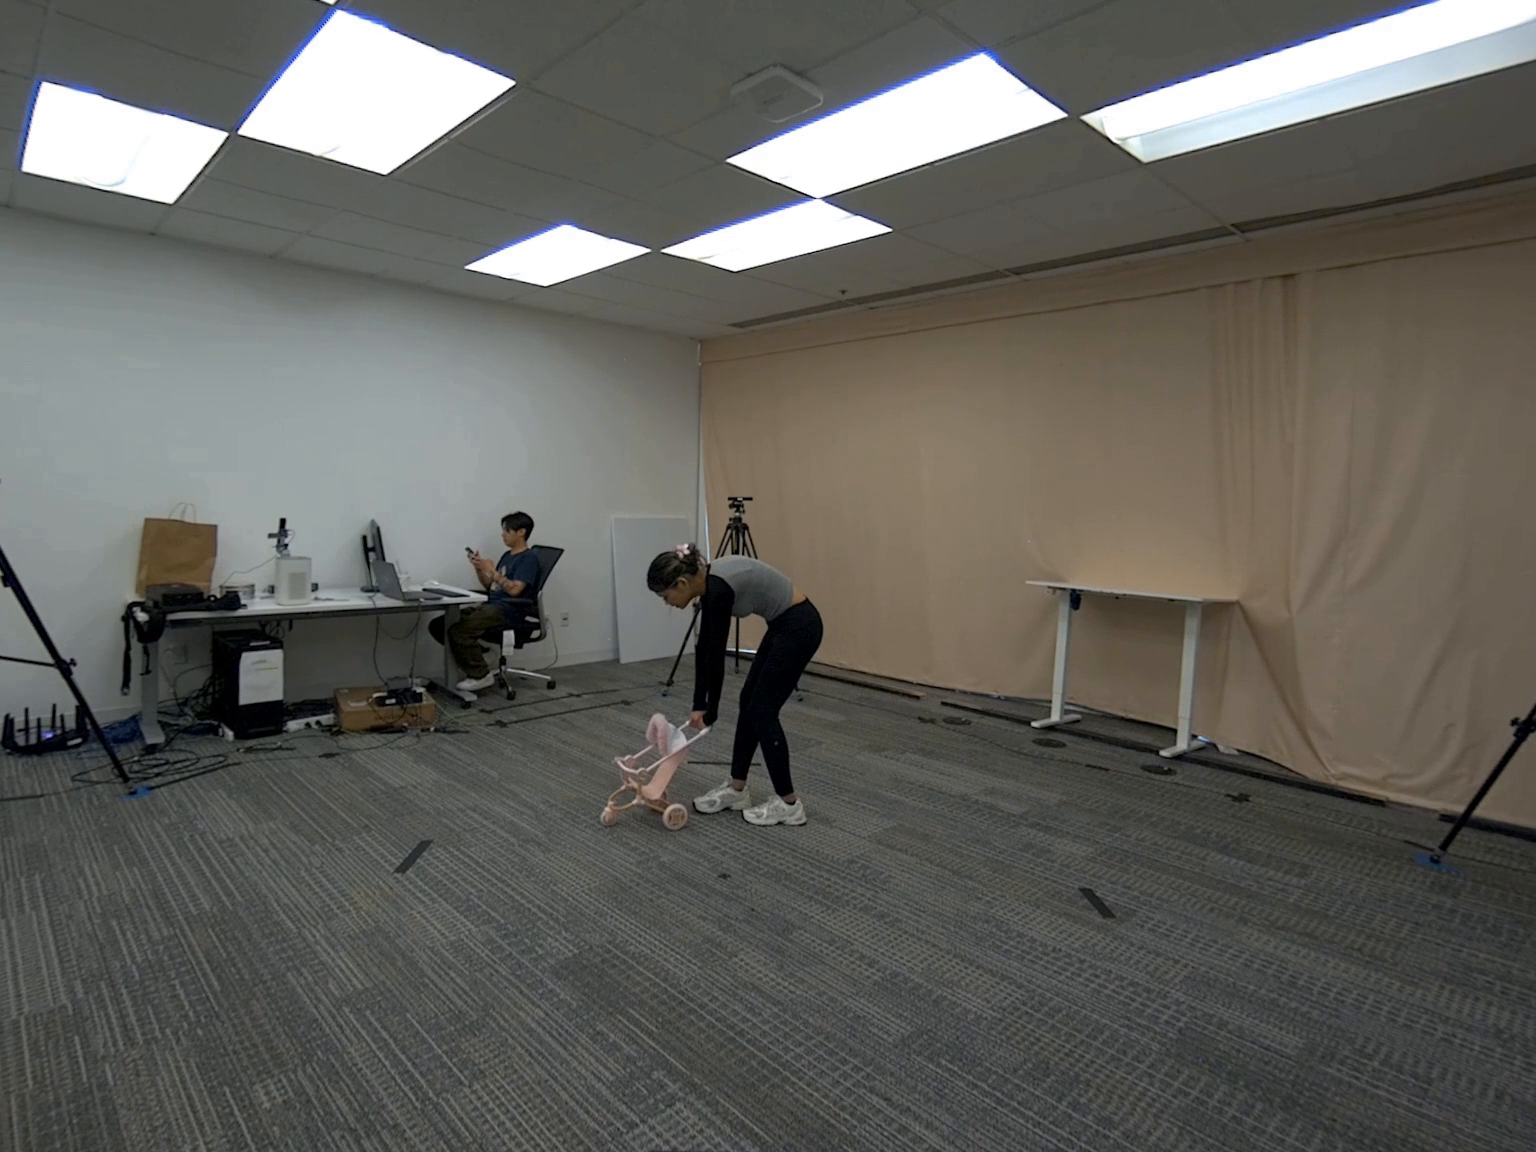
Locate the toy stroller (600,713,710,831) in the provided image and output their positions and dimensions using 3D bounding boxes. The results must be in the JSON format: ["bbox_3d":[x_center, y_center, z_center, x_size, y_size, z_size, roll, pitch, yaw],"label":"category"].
[{"bbox_3d":[-0.500,0.831,3.613,0.335,0.536,0.286,18,-3,-20],"label":"toy stroller"}]
